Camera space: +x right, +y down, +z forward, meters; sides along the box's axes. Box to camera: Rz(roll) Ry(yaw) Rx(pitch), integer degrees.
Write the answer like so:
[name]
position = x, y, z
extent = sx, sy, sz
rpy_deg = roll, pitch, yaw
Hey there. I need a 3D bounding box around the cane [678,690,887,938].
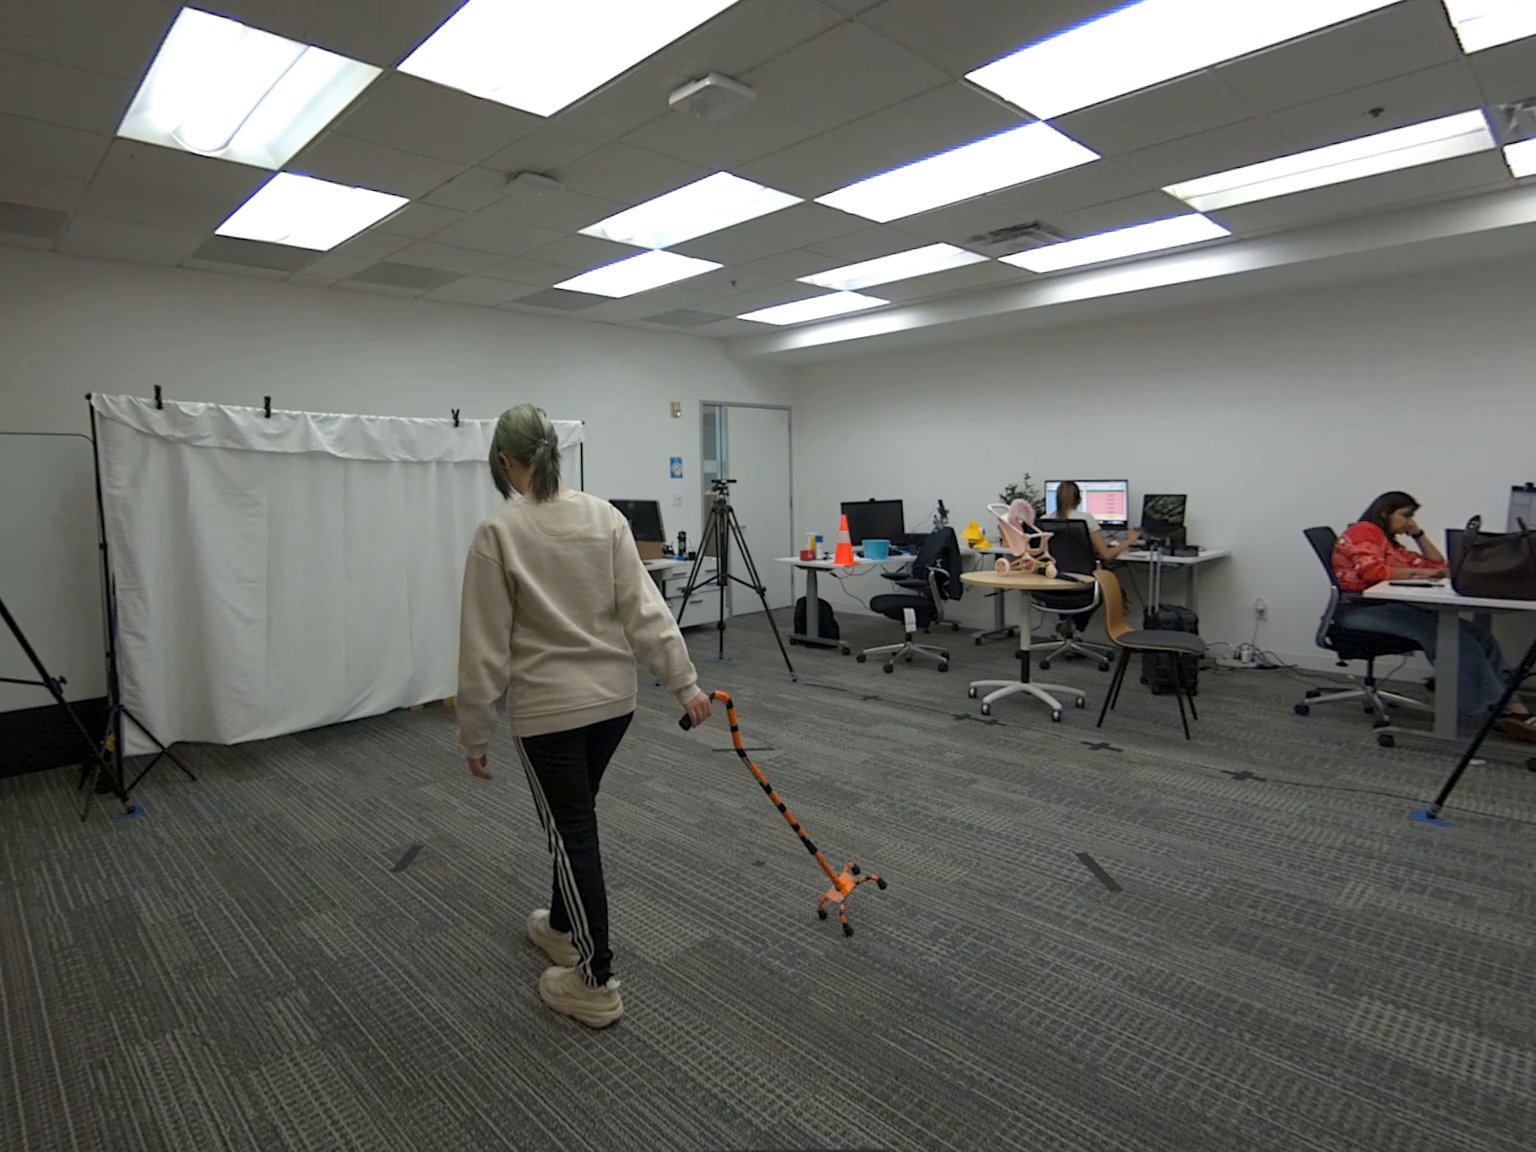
[cane]
position = 0.058, 0.686, 2.538
extent = 0.206, 0.883, 0.156
rpy_deg = -43, 25, -25
